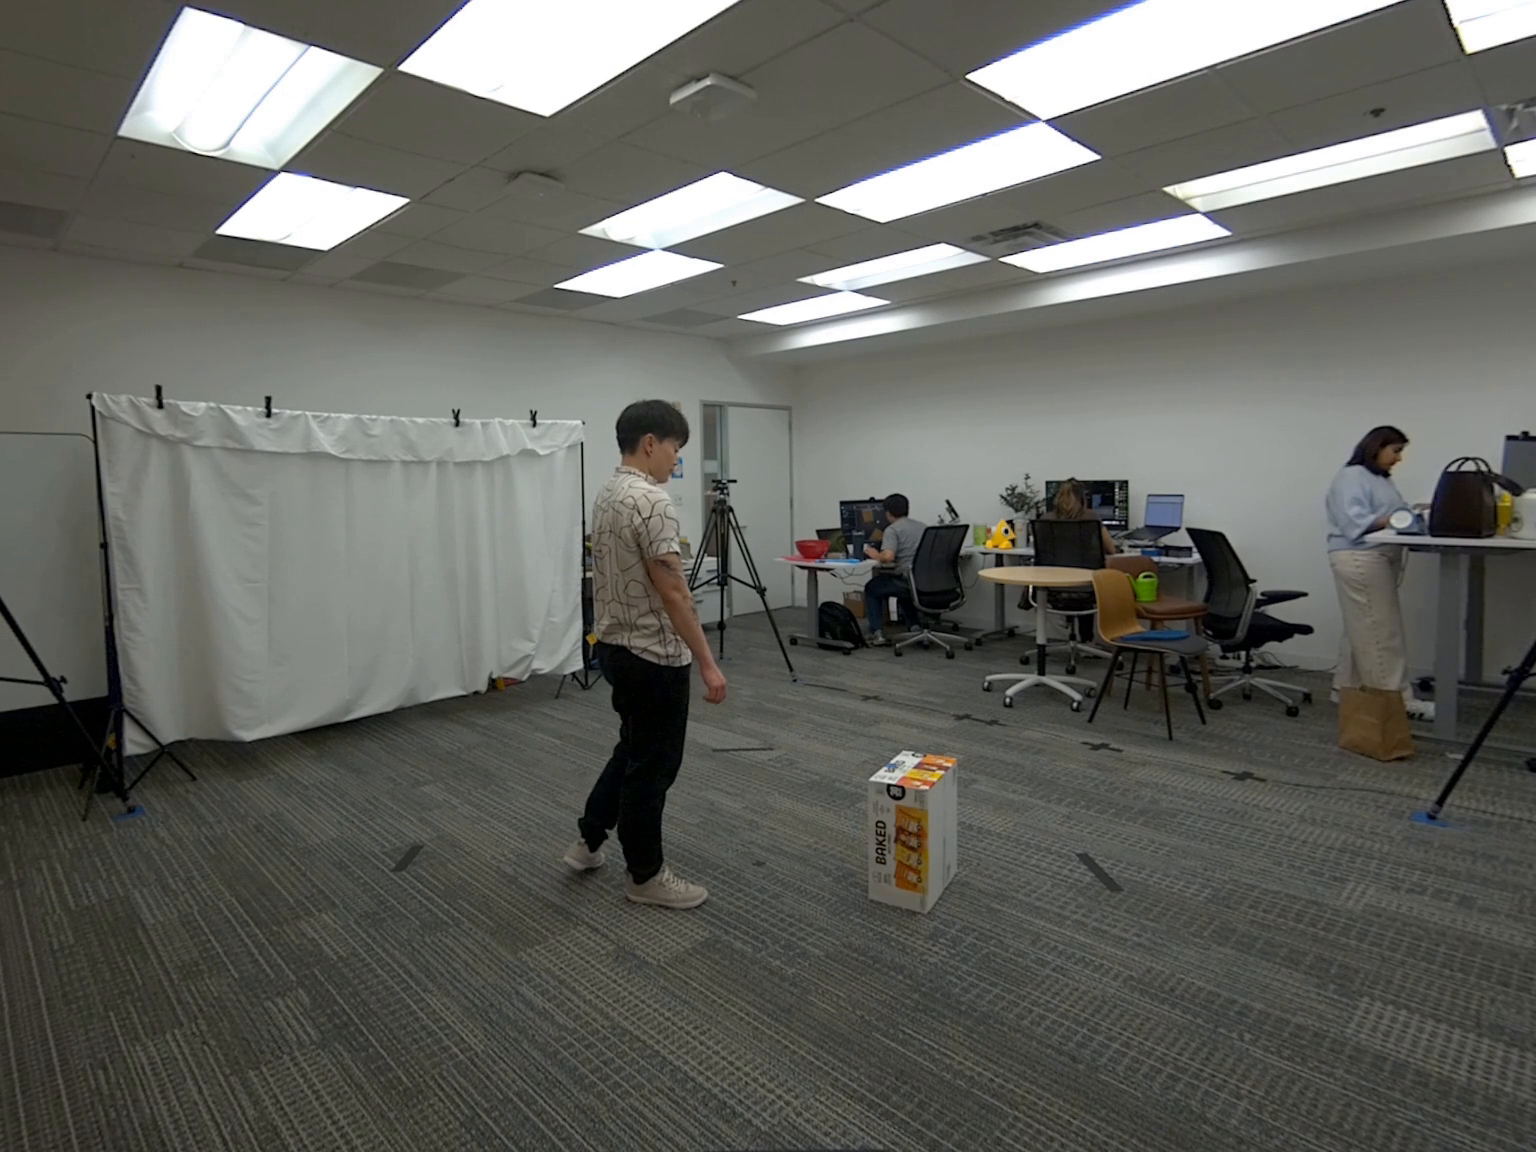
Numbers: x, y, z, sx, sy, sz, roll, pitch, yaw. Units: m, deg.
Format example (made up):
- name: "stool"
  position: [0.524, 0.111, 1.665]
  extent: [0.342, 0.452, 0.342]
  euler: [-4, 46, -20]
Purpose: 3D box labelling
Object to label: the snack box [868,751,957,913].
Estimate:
- name: "snack box"
  position: [0.501, 0.854, 2.909]
  extent: [0.211, 0.404, 0.333]
  euler: [1, 5, 29]
